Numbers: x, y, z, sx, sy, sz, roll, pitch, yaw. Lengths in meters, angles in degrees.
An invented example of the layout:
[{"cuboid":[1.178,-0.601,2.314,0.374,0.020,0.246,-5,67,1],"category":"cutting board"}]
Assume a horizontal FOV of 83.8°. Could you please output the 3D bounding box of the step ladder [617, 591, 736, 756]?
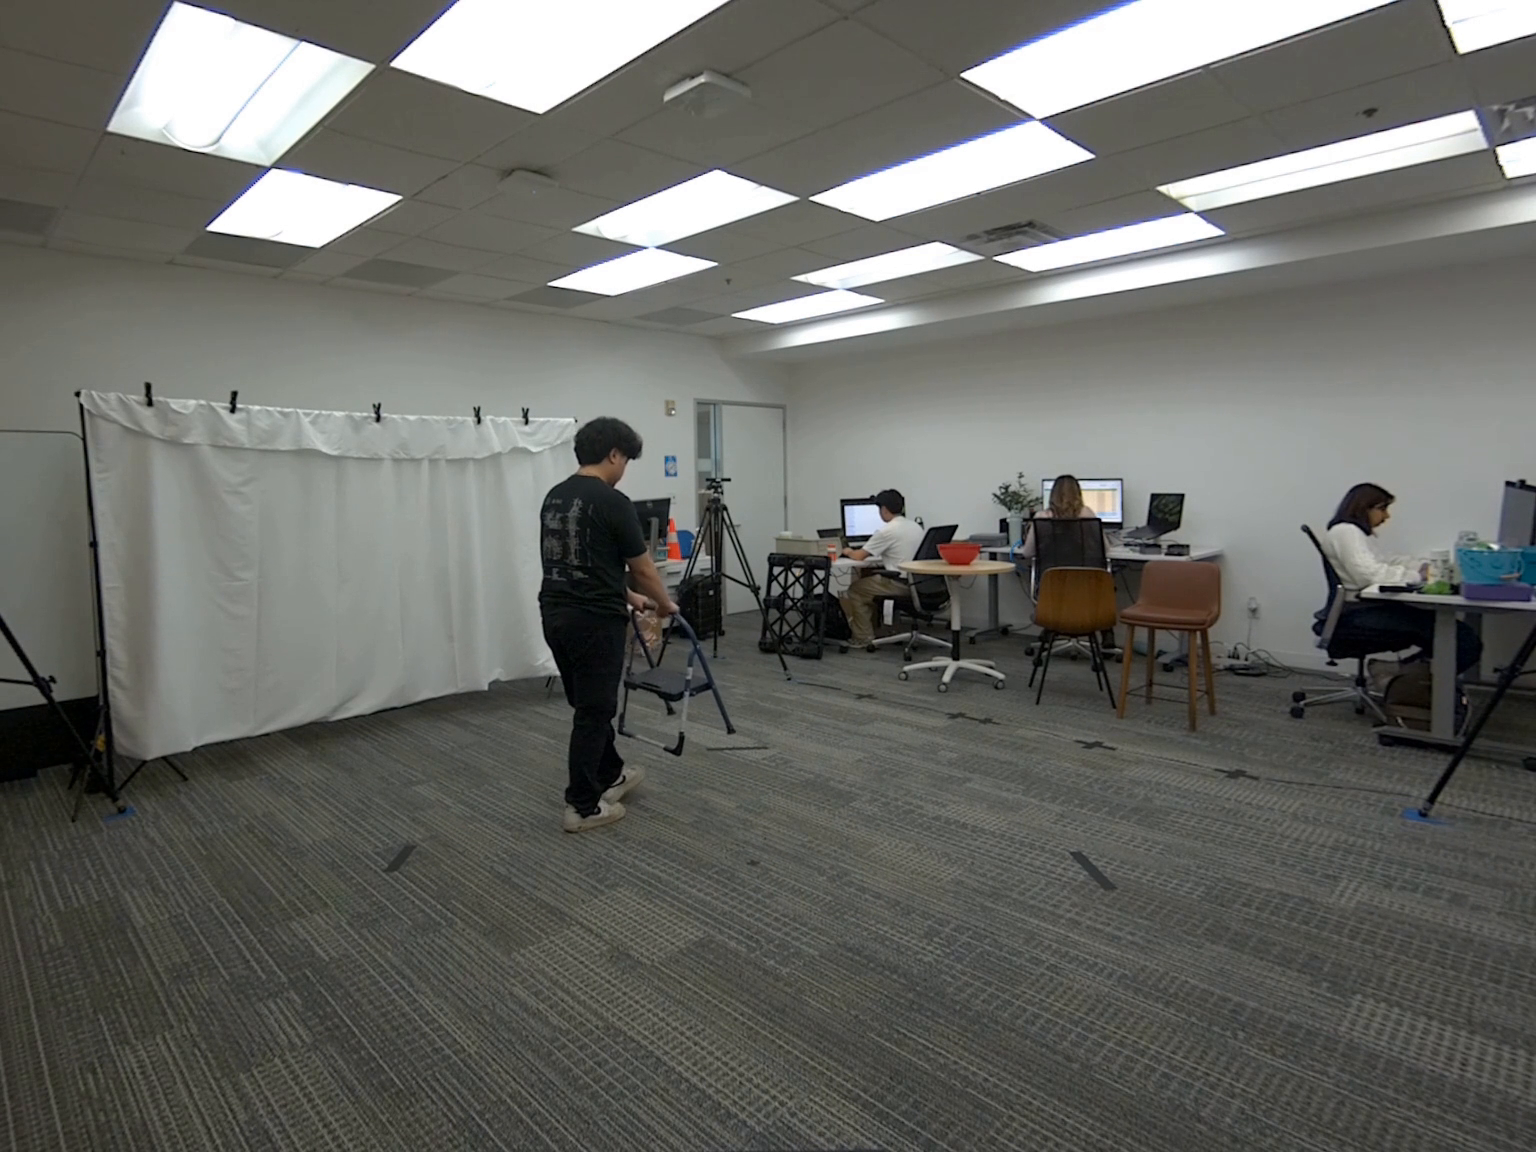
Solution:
[{"cuboid":[-0.430,0.414,3.785,0.444,0.601,0.341,6,12,42],"category":"step ladder"}]
